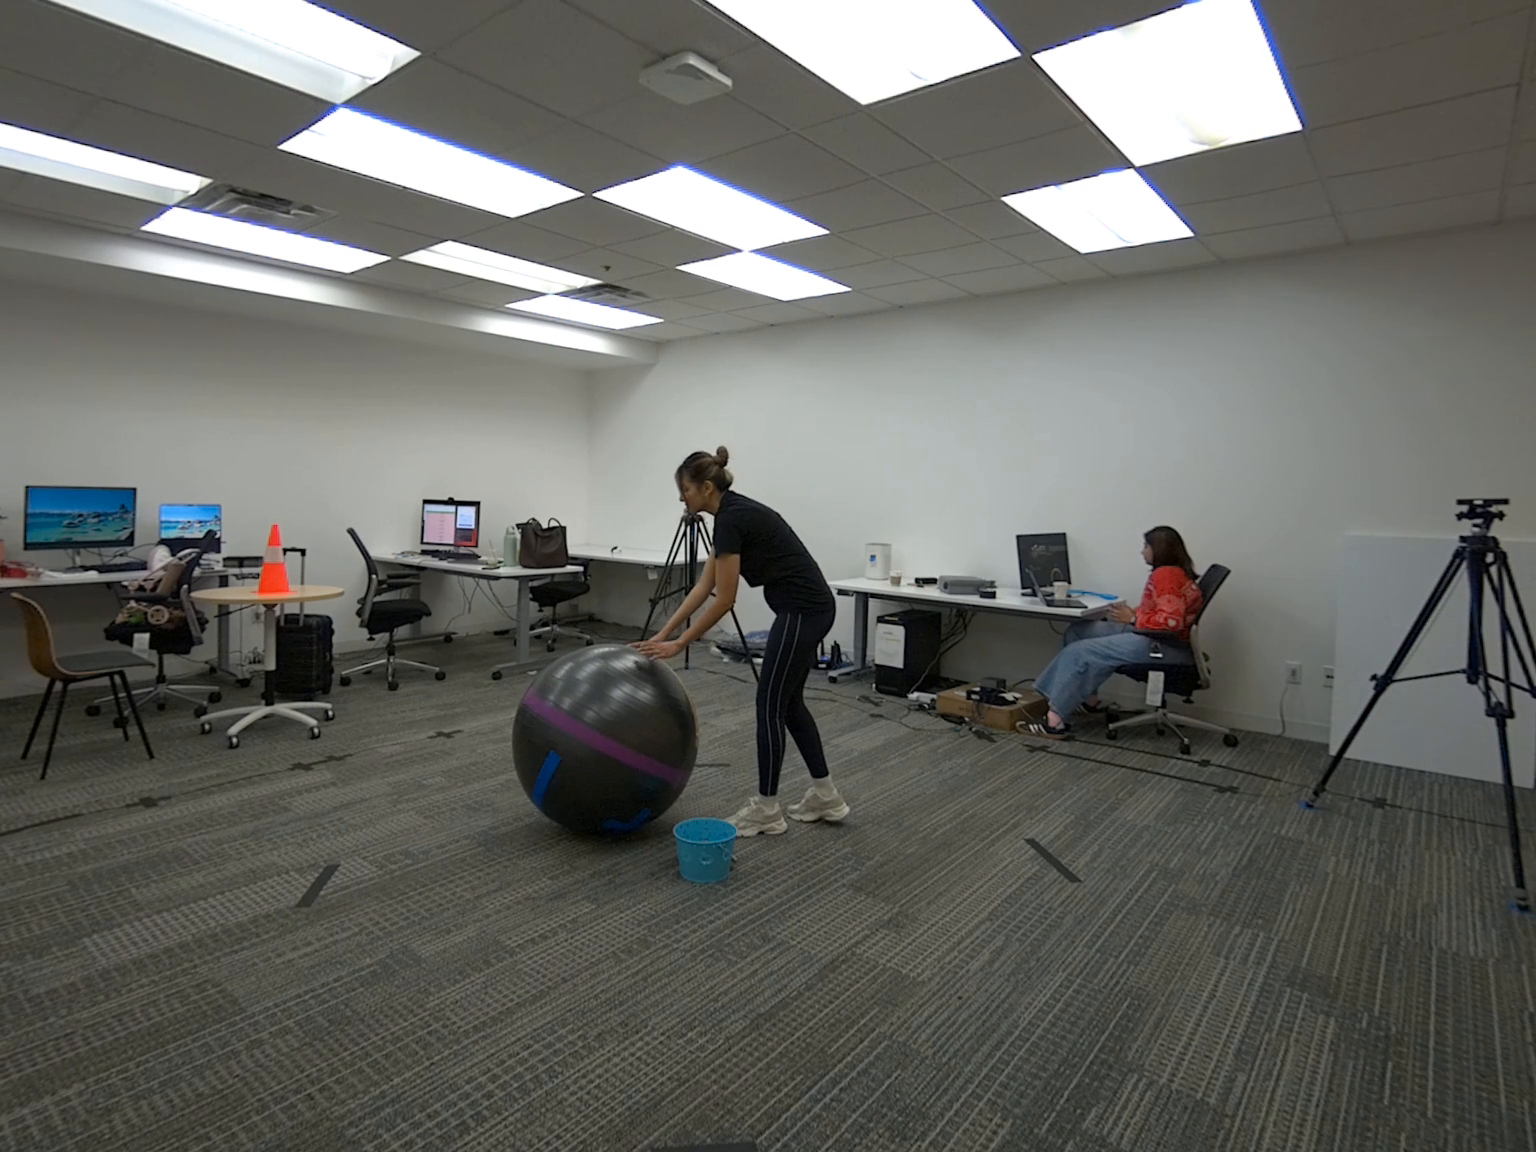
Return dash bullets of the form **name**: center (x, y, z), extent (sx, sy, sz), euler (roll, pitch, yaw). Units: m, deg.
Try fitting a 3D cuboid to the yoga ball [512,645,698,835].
- **yoga ball**: center (-0.675, 0.665, 3.485), extent (0.757, 0.755, 0.762), euler (1, 4, -2)
